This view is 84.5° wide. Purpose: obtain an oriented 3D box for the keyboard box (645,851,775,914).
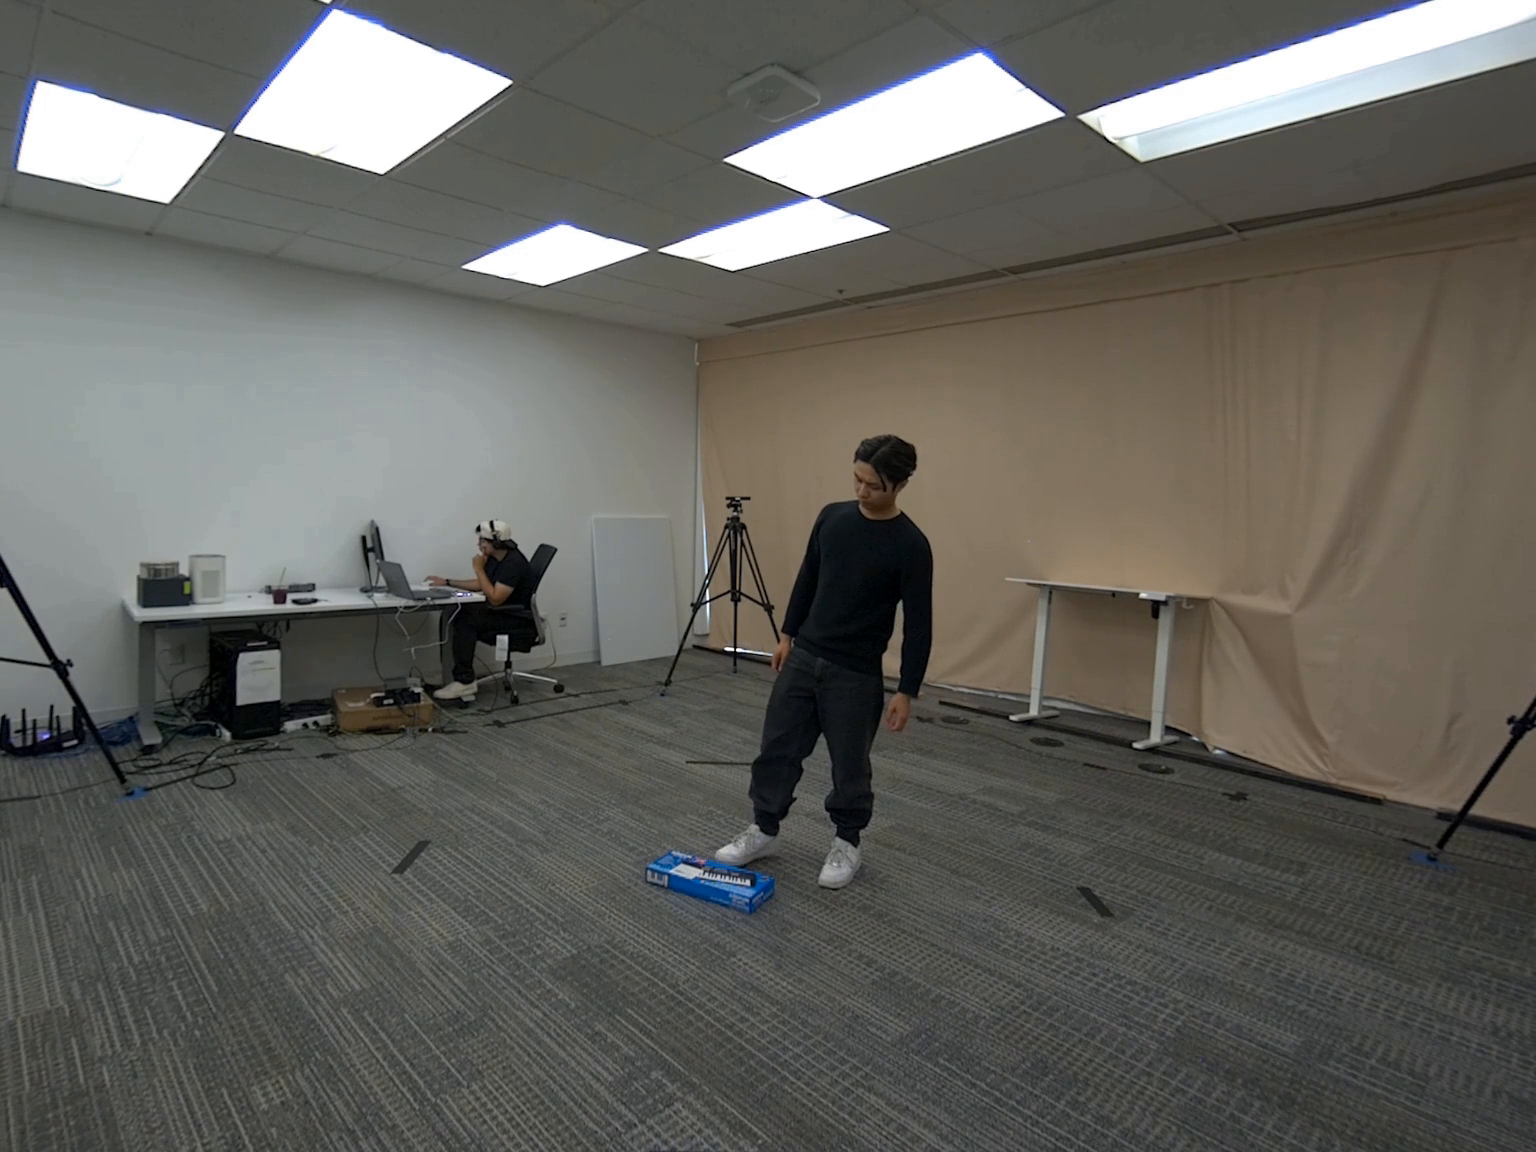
[{"bbox_3d":[-0.217,1.084,2.997,0.446,0.059,0.173,4,6,29],"label":"keyboard box"}]
